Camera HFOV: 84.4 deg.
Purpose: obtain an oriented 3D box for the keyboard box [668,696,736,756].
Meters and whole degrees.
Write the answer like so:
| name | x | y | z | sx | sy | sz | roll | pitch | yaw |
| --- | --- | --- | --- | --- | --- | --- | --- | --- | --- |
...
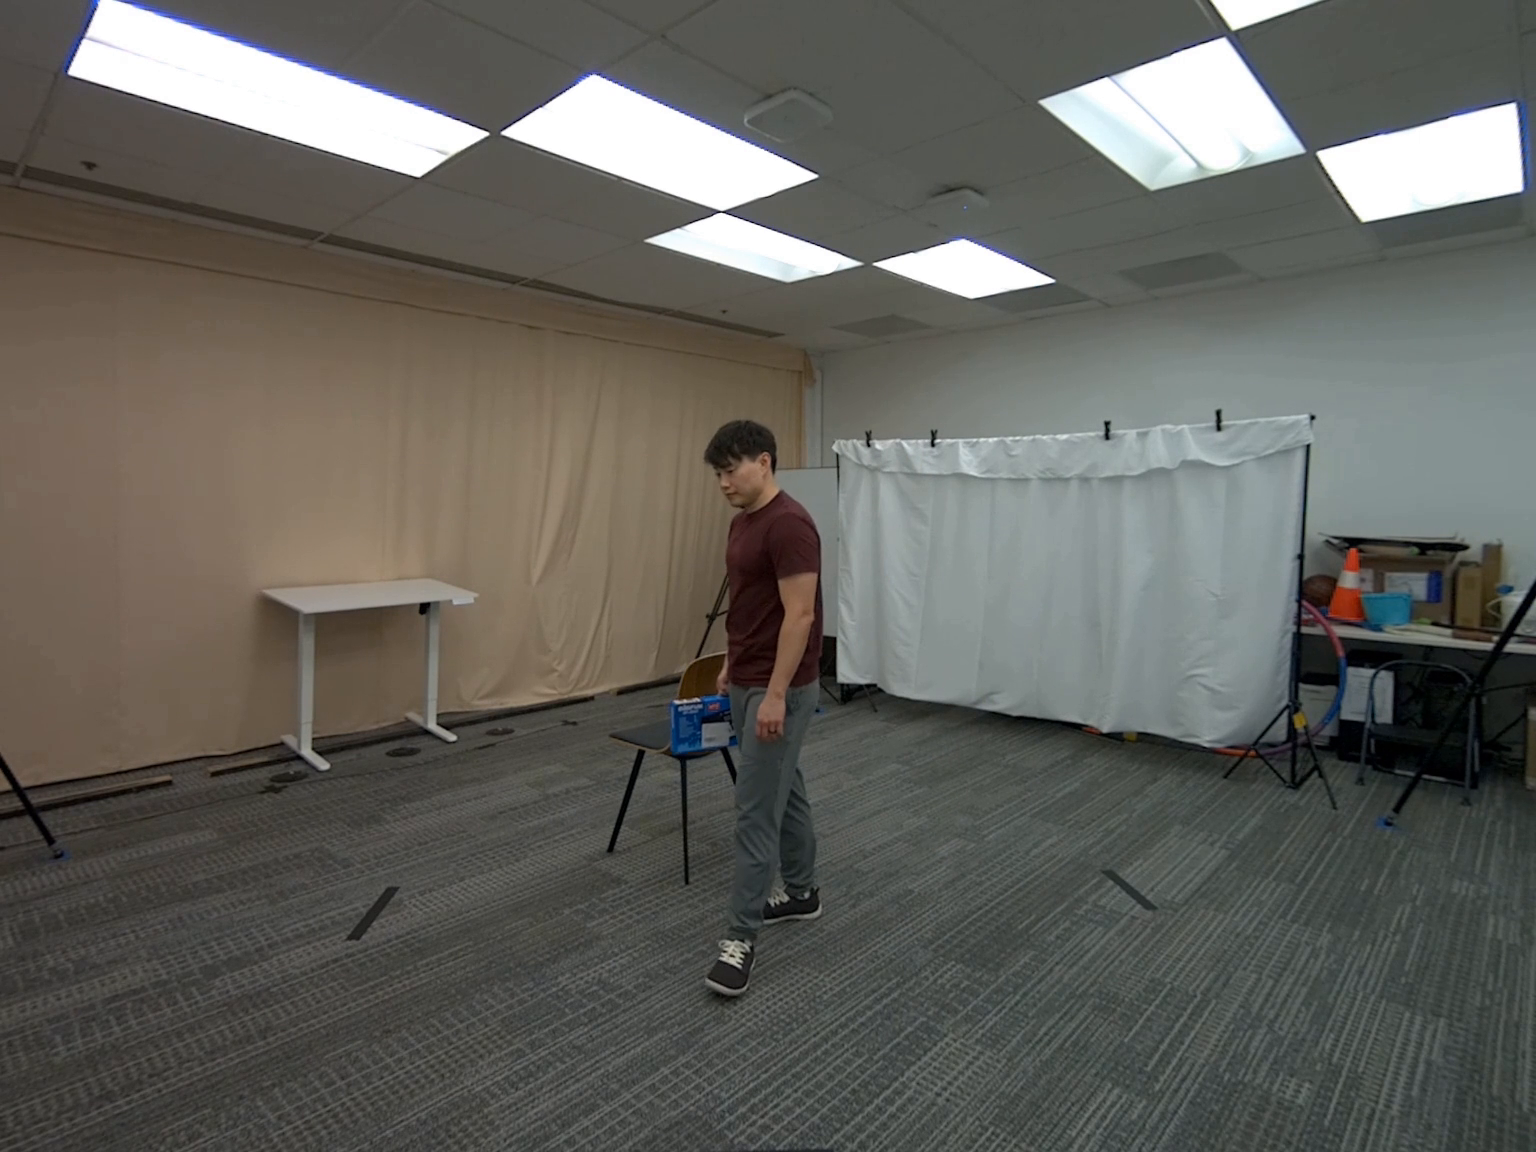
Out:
| name | x | y | z | sx | sy | sz | roll | pitch | yaw |
| --- | --- | --- | --- | --- | --- | --- | --- | --- | --- |
| keyboard box | -0.130 | 0.500 | 2.941 | 0.428 | 0.175 | 0.060 | -4 | 5 | -21 |
